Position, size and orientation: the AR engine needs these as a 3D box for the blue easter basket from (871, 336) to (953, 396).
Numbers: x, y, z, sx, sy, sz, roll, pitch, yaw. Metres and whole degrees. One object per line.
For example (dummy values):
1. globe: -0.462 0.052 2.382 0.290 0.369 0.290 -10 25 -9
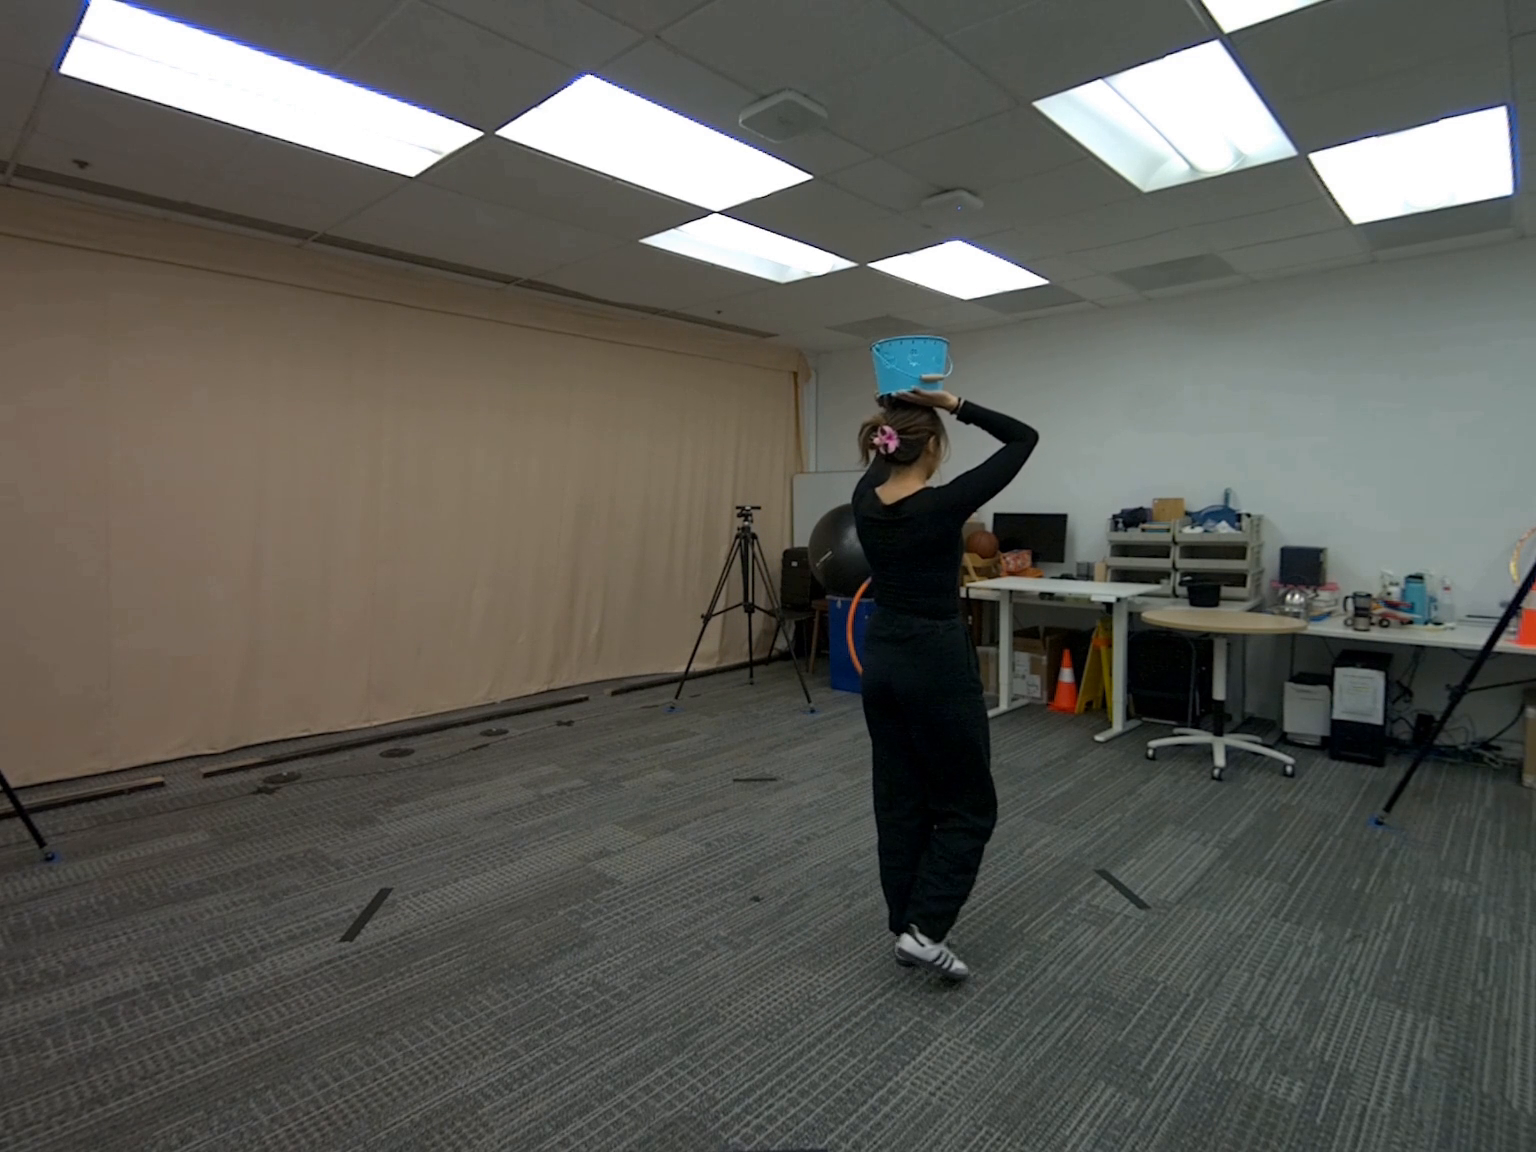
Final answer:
1. blue easter basket: 0.436 -0.611 2.496 0.243 0.156 0.244 1 1 -2
